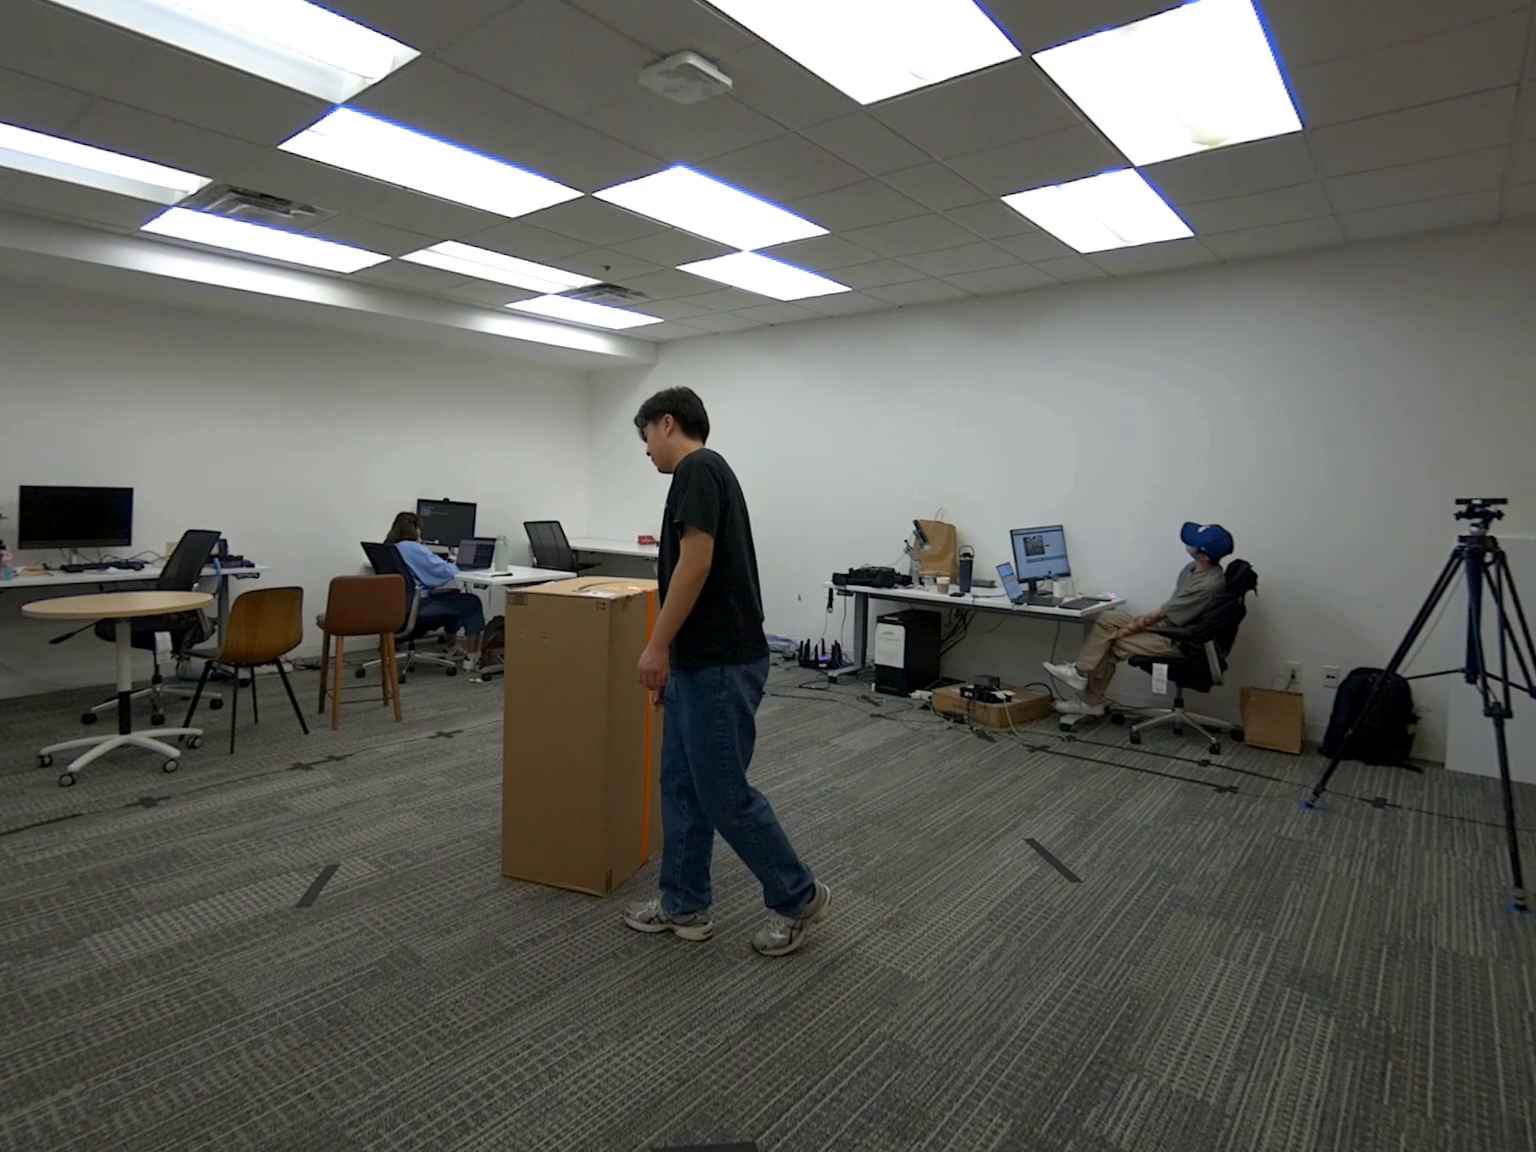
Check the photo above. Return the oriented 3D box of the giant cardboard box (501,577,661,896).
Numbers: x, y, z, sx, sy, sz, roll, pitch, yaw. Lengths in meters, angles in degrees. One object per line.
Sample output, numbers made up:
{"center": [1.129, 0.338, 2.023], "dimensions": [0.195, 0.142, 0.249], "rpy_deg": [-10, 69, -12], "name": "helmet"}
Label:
{"center": [-0.663, 0.540, 3.193], "dimensions": [0.457, 1.024, 0.572], "rpy_deg": [3, 4, 20], "name": "giant cardboard box"}
